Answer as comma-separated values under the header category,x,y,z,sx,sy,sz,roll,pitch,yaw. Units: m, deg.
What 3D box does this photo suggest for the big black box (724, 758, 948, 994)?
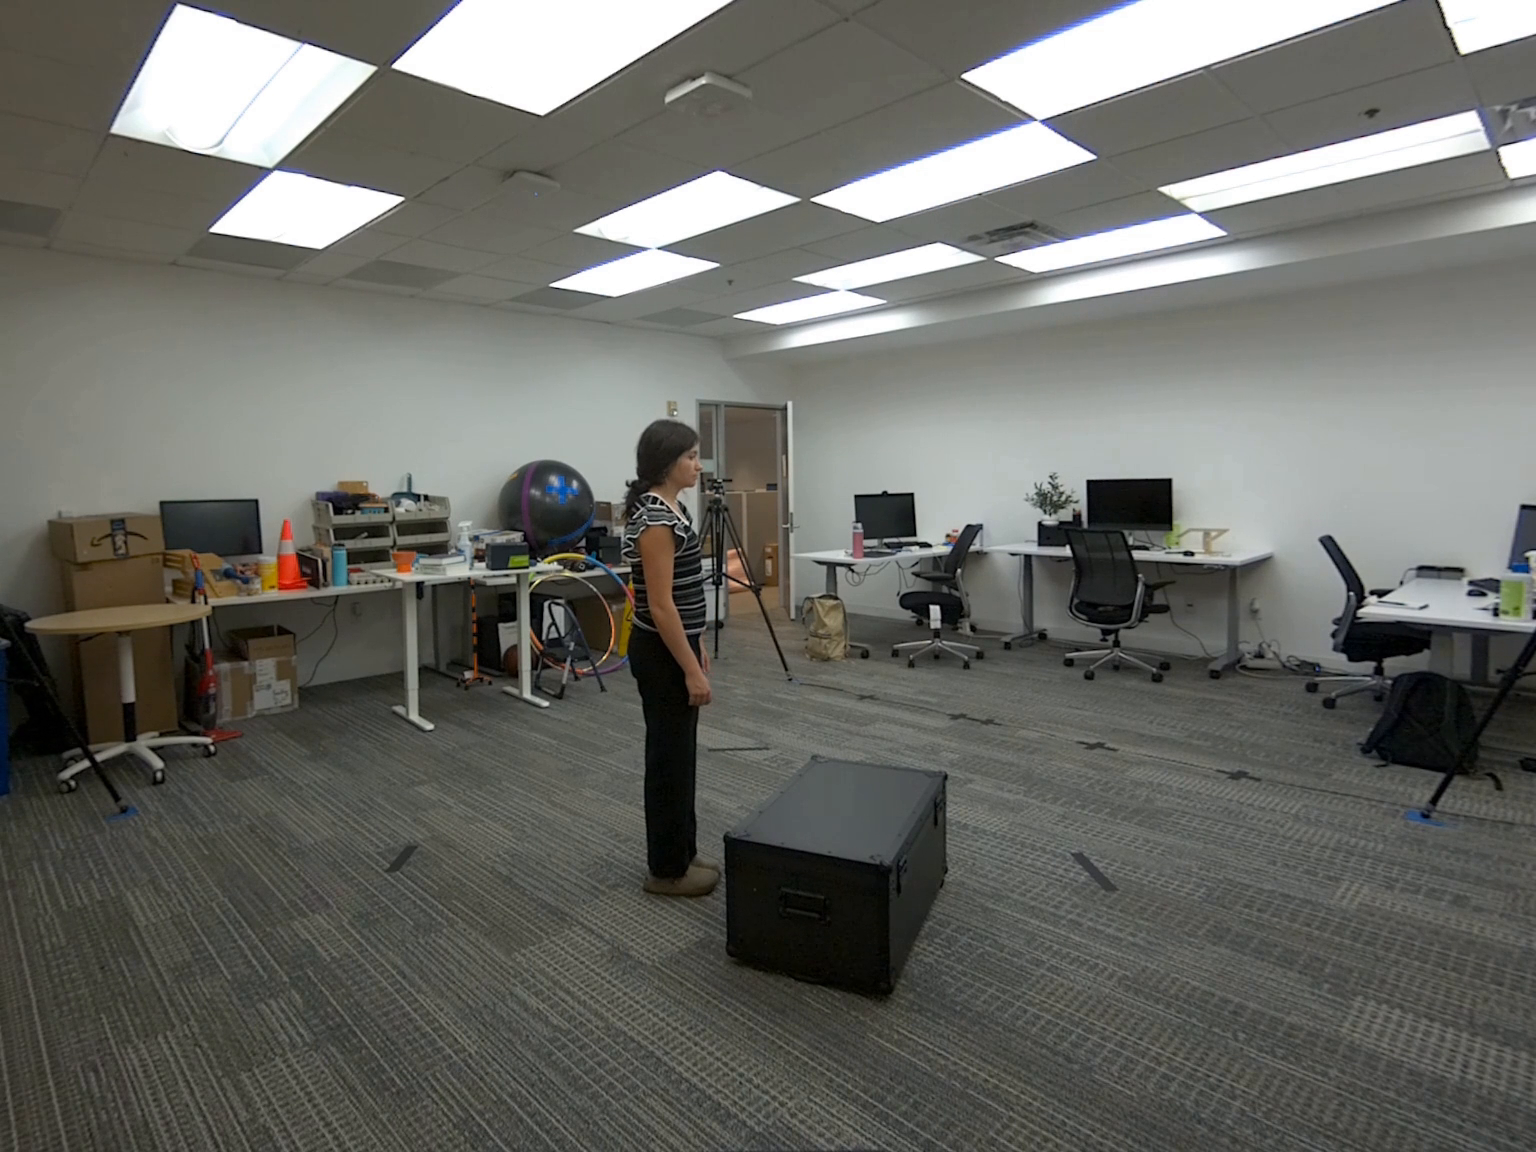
category,x,y,z,sx,sy,sz,roll,pitch,yaw
big black box,0.263,0.891,2.731,0.533,0.394,0.847,0,6,23
